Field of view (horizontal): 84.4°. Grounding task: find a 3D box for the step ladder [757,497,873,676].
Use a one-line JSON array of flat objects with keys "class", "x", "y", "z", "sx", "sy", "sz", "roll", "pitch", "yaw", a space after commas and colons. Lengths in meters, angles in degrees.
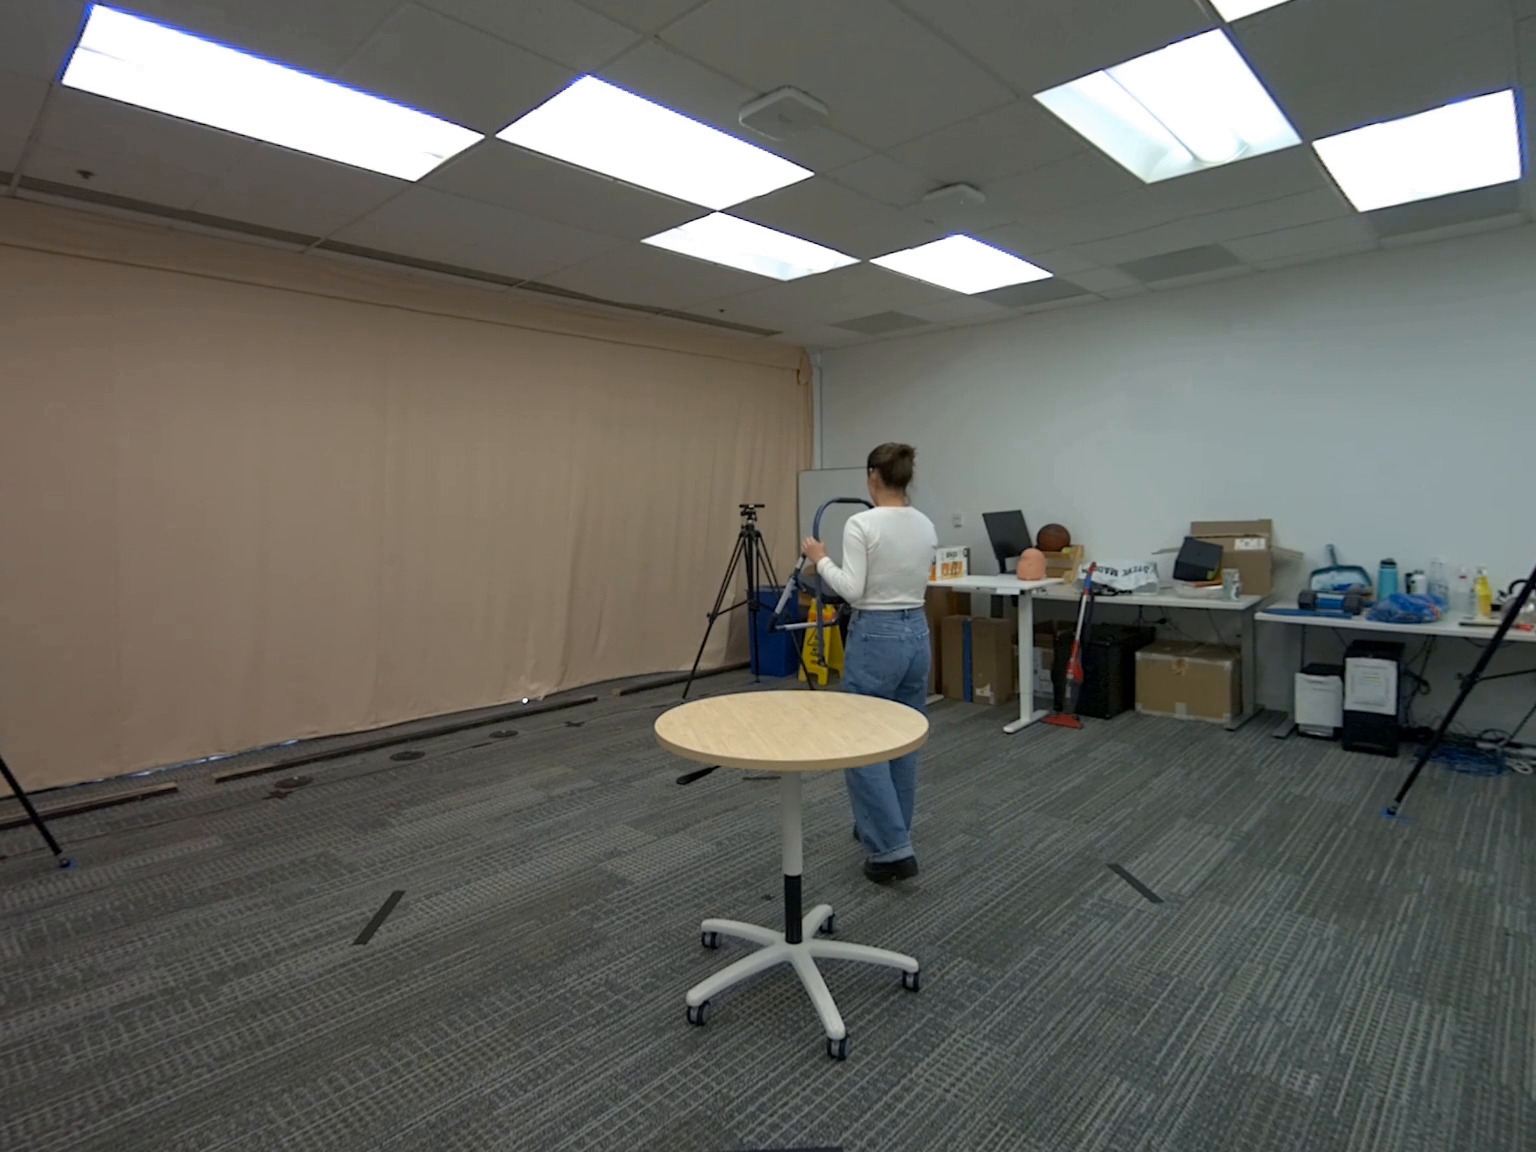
[{"class": "step ladder", "x": 0.310, "y": -0.003, "z": 3.410, "sx": 0.417, "sy": 0.602, "sz": 0.362, "roll": -1, "pitch": 19, "yaw": -42}]
